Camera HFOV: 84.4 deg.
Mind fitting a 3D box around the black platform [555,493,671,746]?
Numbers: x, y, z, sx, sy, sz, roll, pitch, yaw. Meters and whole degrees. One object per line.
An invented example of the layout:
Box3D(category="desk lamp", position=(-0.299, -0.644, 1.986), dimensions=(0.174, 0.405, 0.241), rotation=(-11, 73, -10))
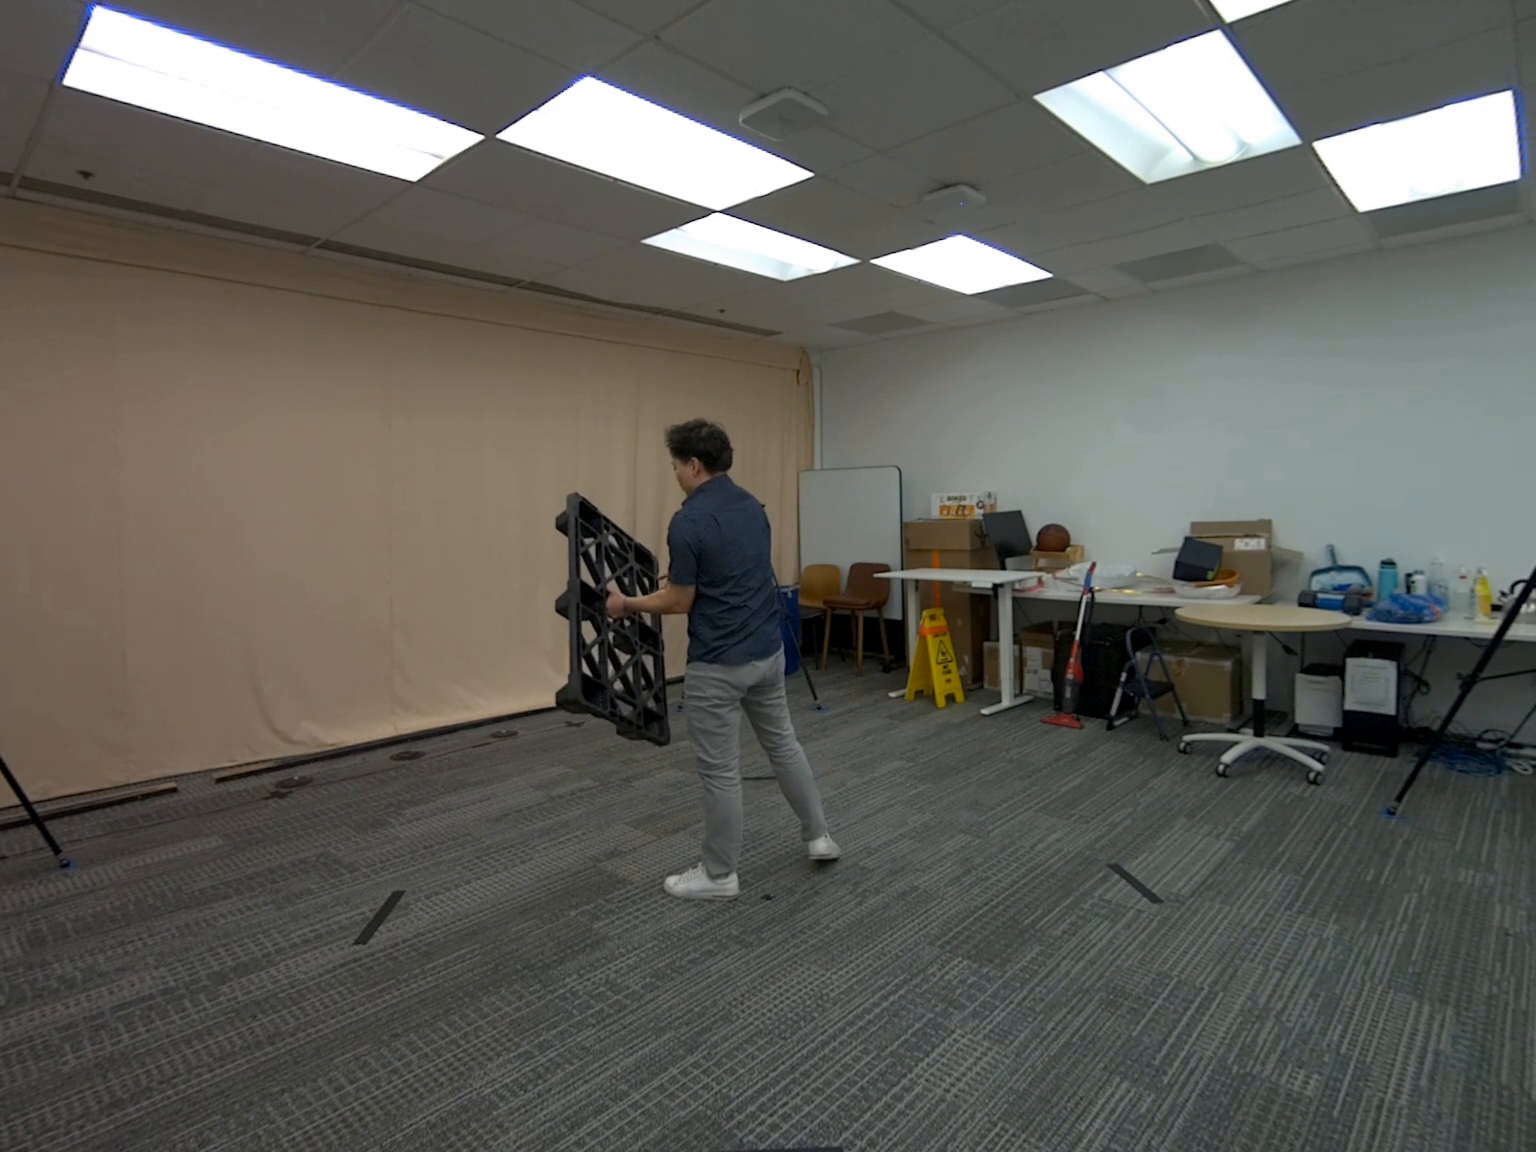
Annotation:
Box3D(category="black platform", position=(-0.583, 0.174, 3.075), dimensions=(0.145, 0.821, 0.584), rotation=(-19, -31, 18))
